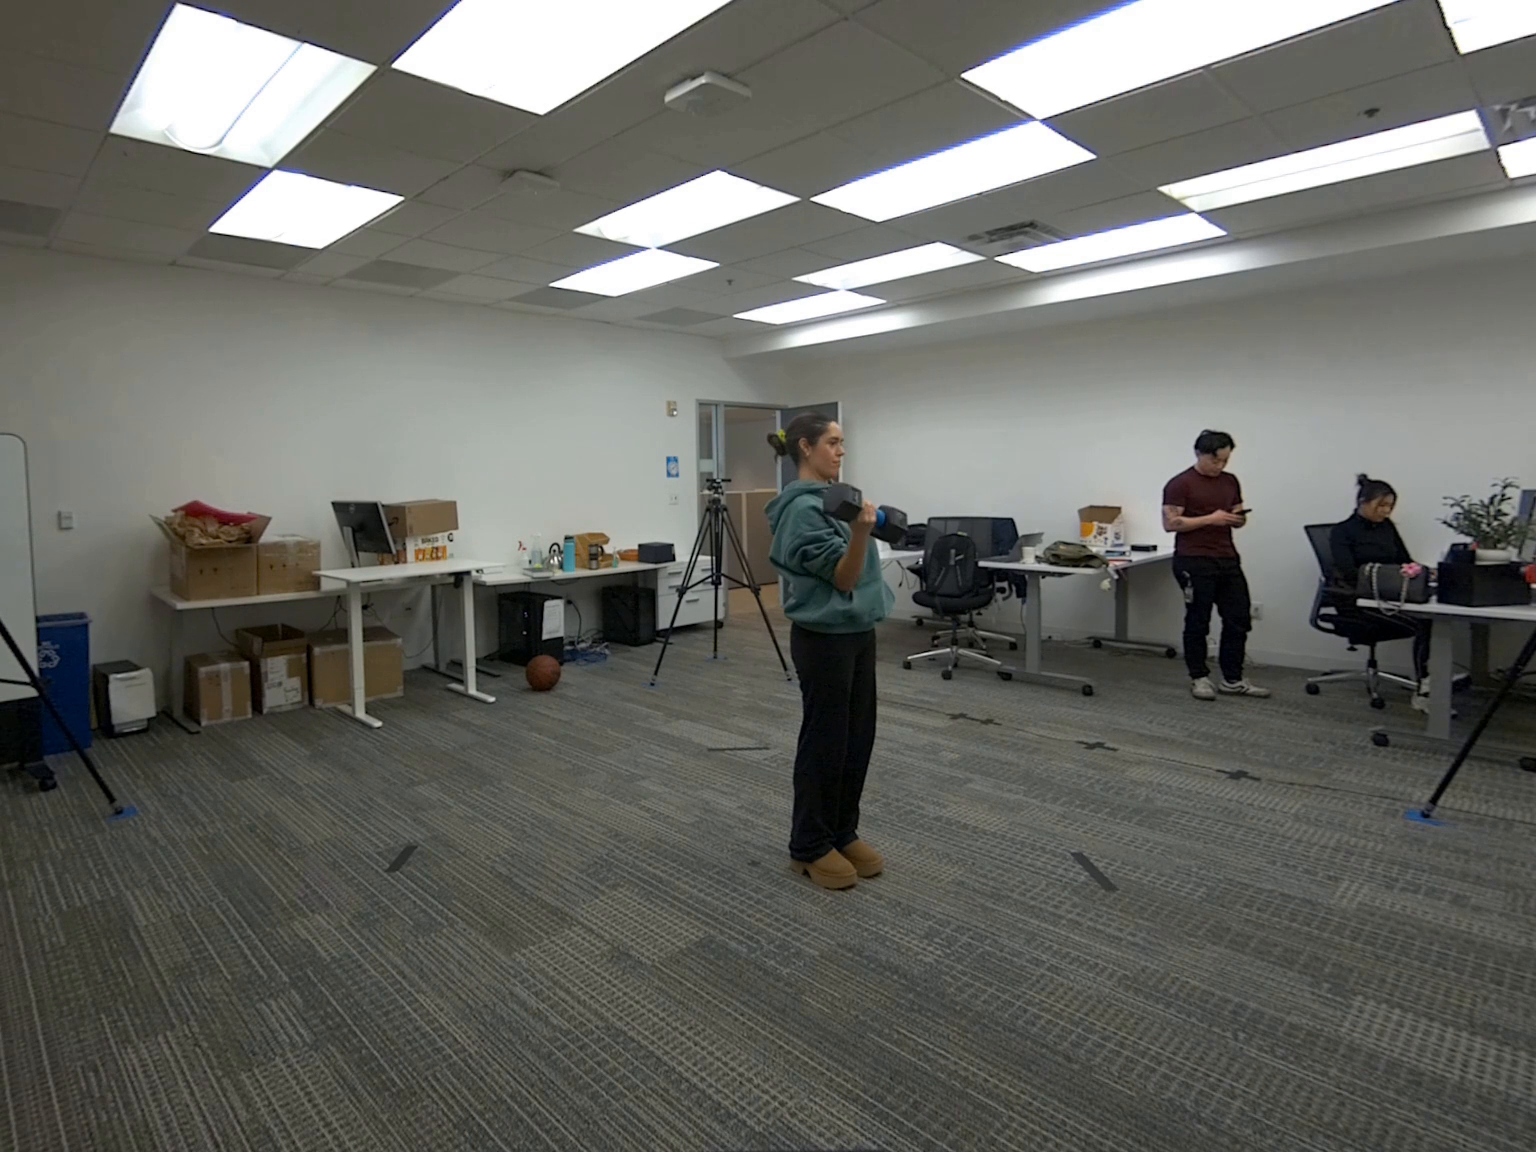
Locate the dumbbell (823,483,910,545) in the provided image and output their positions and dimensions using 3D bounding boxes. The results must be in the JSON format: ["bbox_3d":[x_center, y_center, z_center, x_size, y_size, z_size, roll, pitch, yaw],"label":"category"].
[{"bbox_3d":[0.298,-0.189,2.664,0.283,0.122,0.113,22,24,-36],"label":"dumbbell"}]
